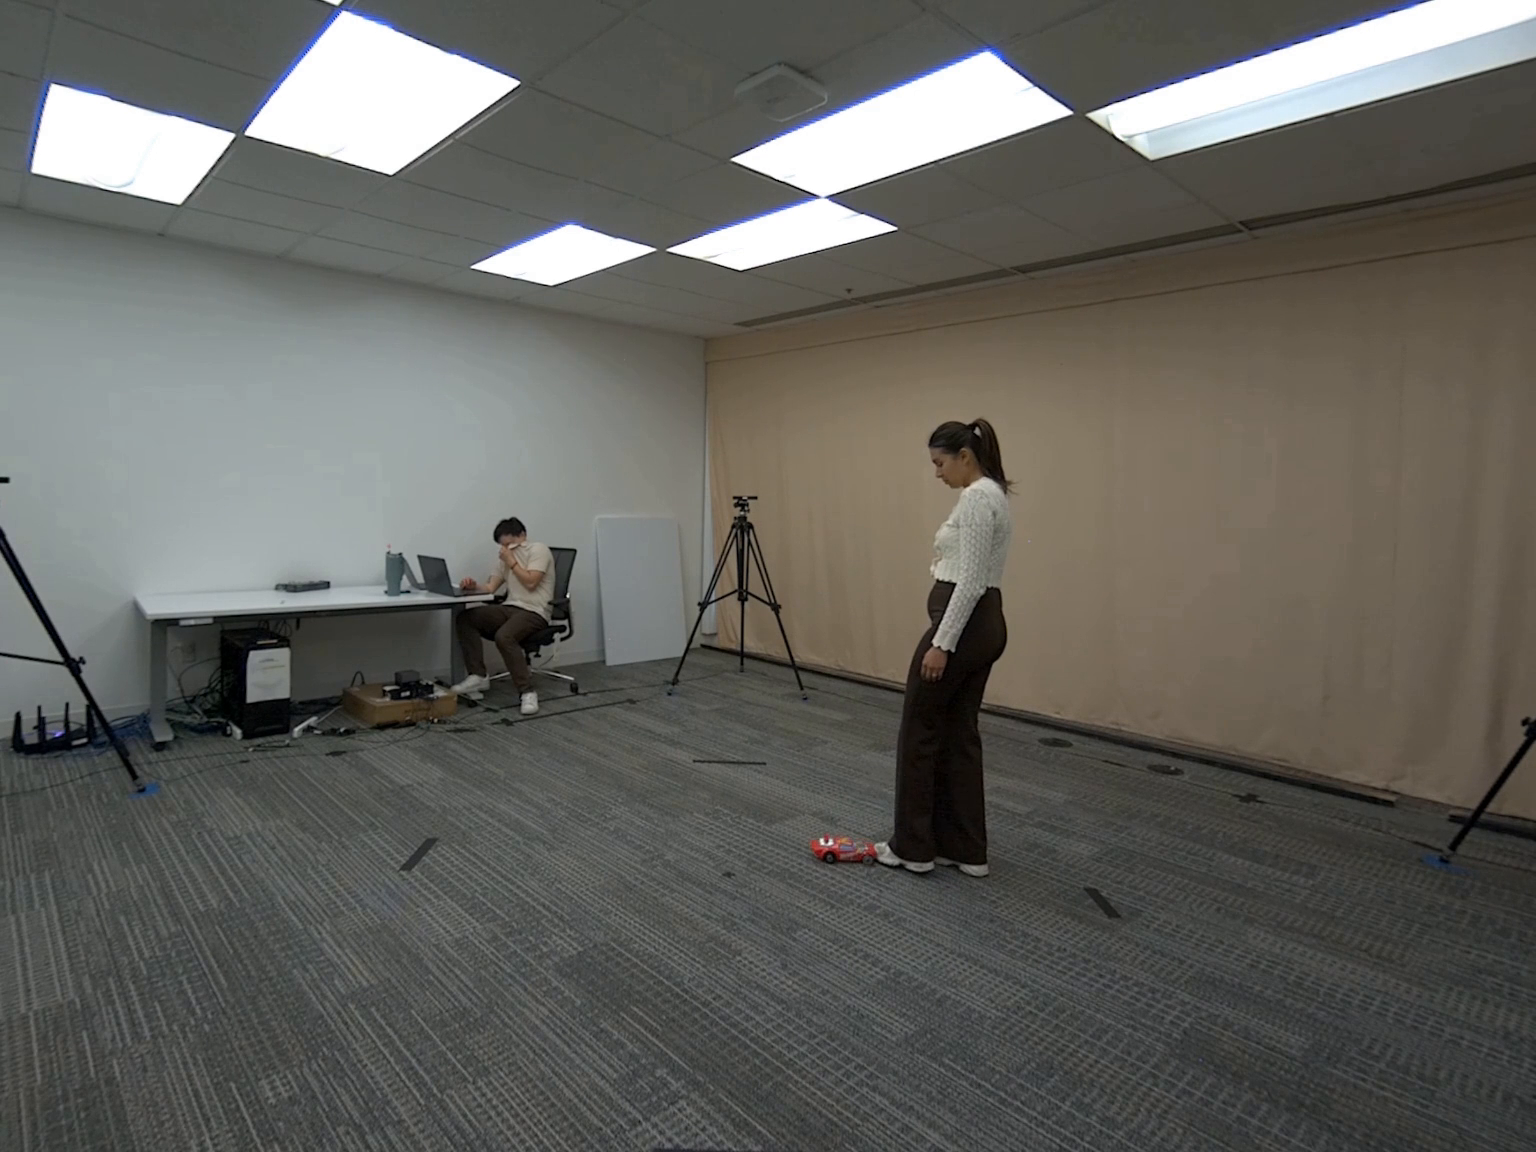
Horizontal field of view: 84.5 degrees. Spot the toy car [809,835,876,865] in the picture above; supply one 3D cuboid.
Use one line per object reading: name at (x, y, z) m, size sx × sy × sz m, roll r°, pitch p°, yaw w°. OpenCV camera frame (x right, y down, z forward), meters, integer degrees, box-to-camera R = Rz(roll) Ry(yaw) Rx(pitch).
toy car at (0.280, 1.060, 3.270) m, size 0.254 × 0.083 × 0.130 m, roll 12°, pitch 3°, yaw -2°
